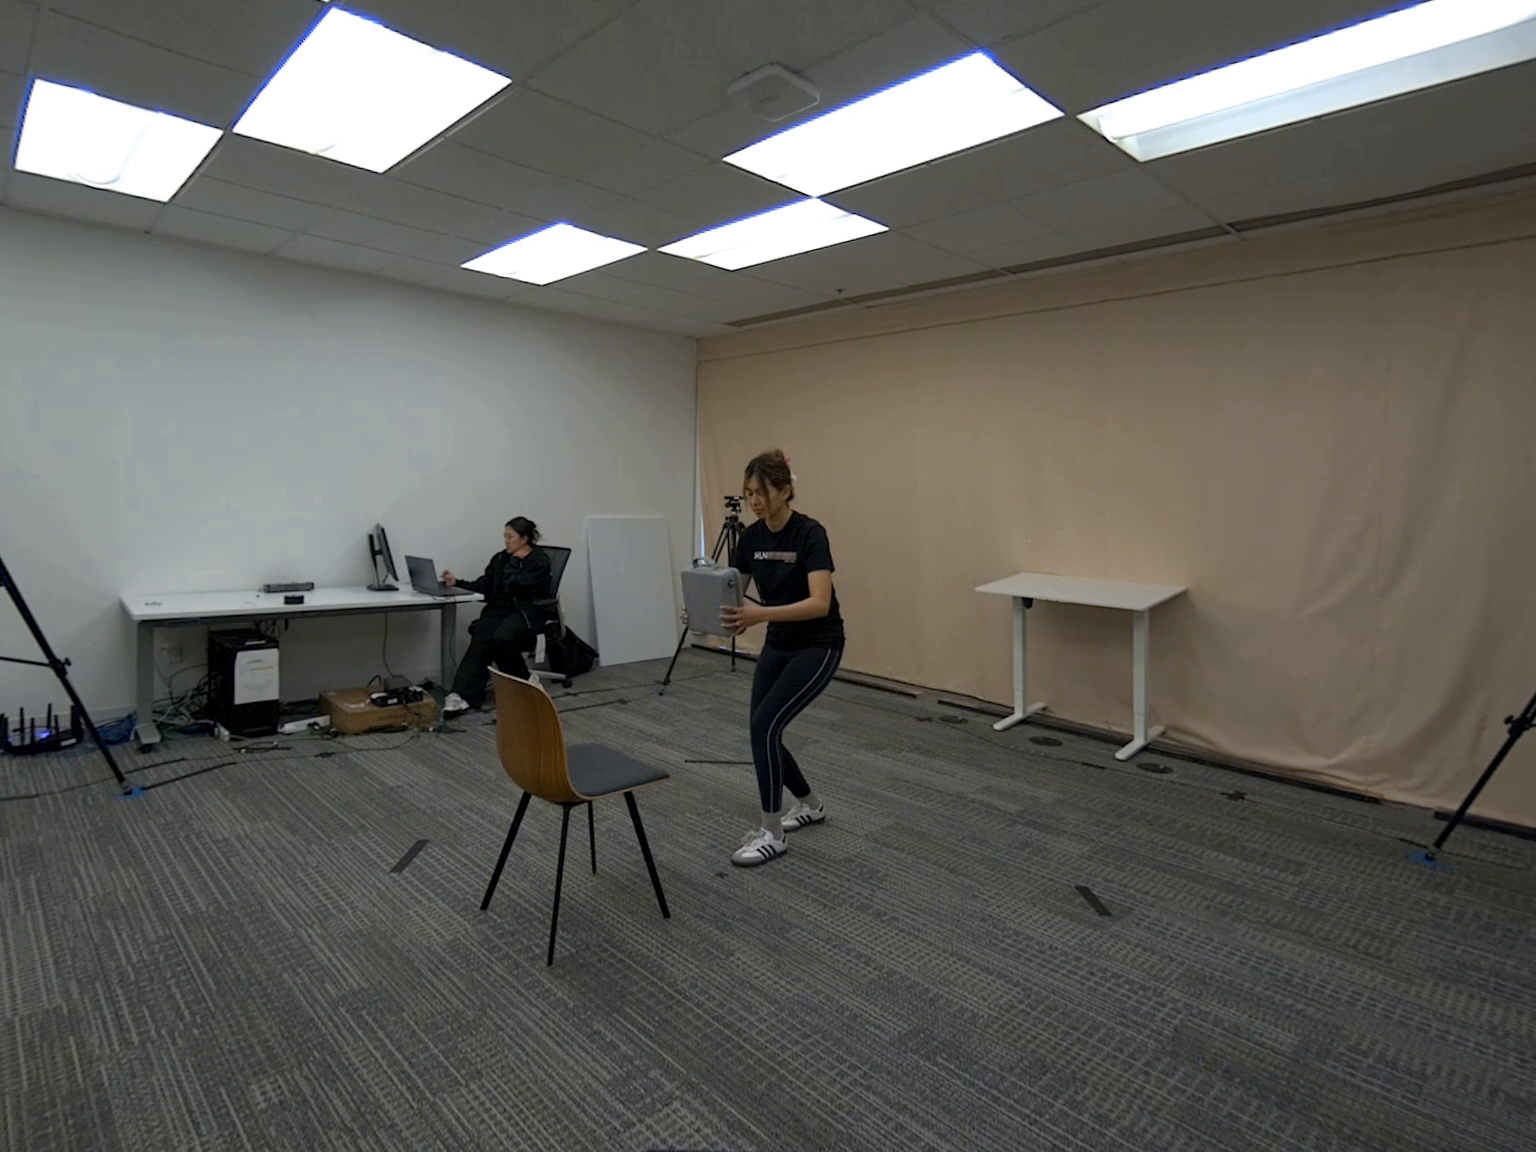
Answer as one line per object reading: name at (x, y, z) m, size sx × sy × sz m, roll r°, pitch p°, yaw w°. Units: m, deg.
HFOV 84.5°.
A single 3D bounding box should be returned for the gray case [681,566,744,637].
gray case at (-0.204, 0.084, 3.150) m, size 0.102 × 0.259 × 0.263 m, roll -12°, pitch 11°, yaw -39°
